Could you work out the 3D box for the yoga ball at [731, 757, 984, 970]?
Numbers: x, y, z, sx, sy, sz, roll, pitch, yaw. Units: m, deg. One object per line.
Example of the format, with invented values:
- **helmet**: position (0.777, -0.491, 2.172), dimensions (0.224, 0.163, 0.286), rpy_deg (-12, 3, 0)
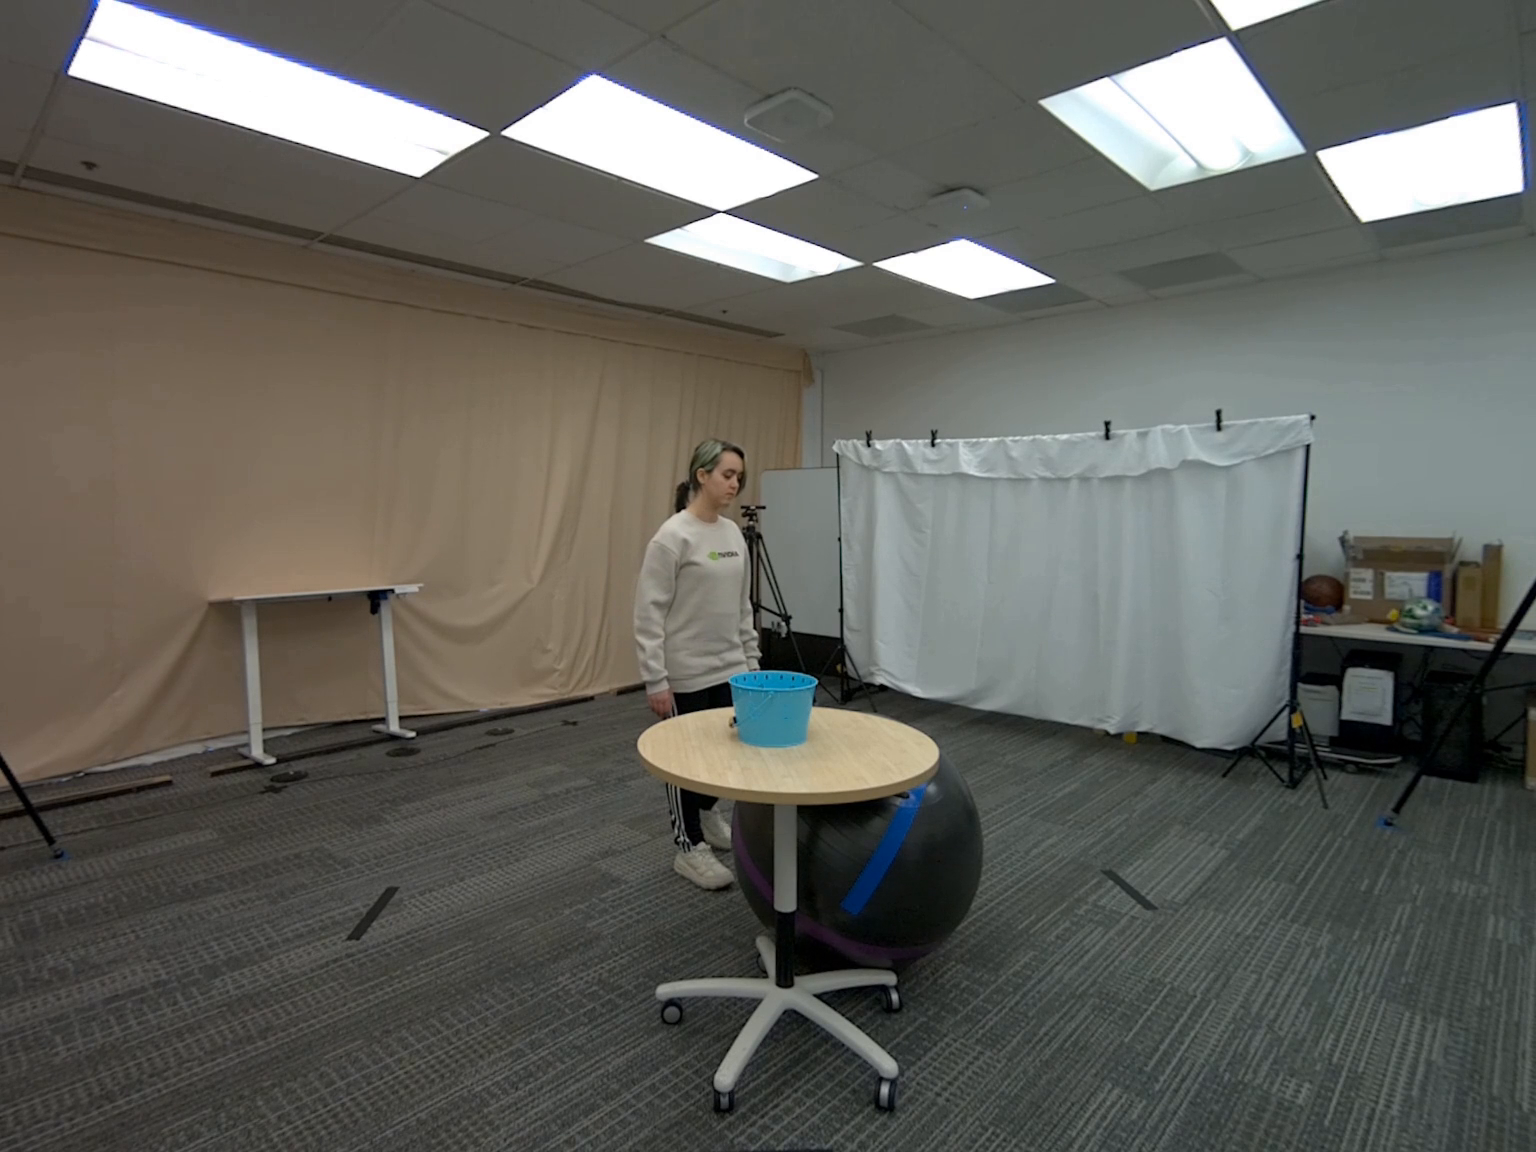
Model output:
- **yoga ball**: position (0.283, 0.813, 2.580), dimensions (0.757, 0.756, 0.760), rpy_deg (0, 4, -2)
